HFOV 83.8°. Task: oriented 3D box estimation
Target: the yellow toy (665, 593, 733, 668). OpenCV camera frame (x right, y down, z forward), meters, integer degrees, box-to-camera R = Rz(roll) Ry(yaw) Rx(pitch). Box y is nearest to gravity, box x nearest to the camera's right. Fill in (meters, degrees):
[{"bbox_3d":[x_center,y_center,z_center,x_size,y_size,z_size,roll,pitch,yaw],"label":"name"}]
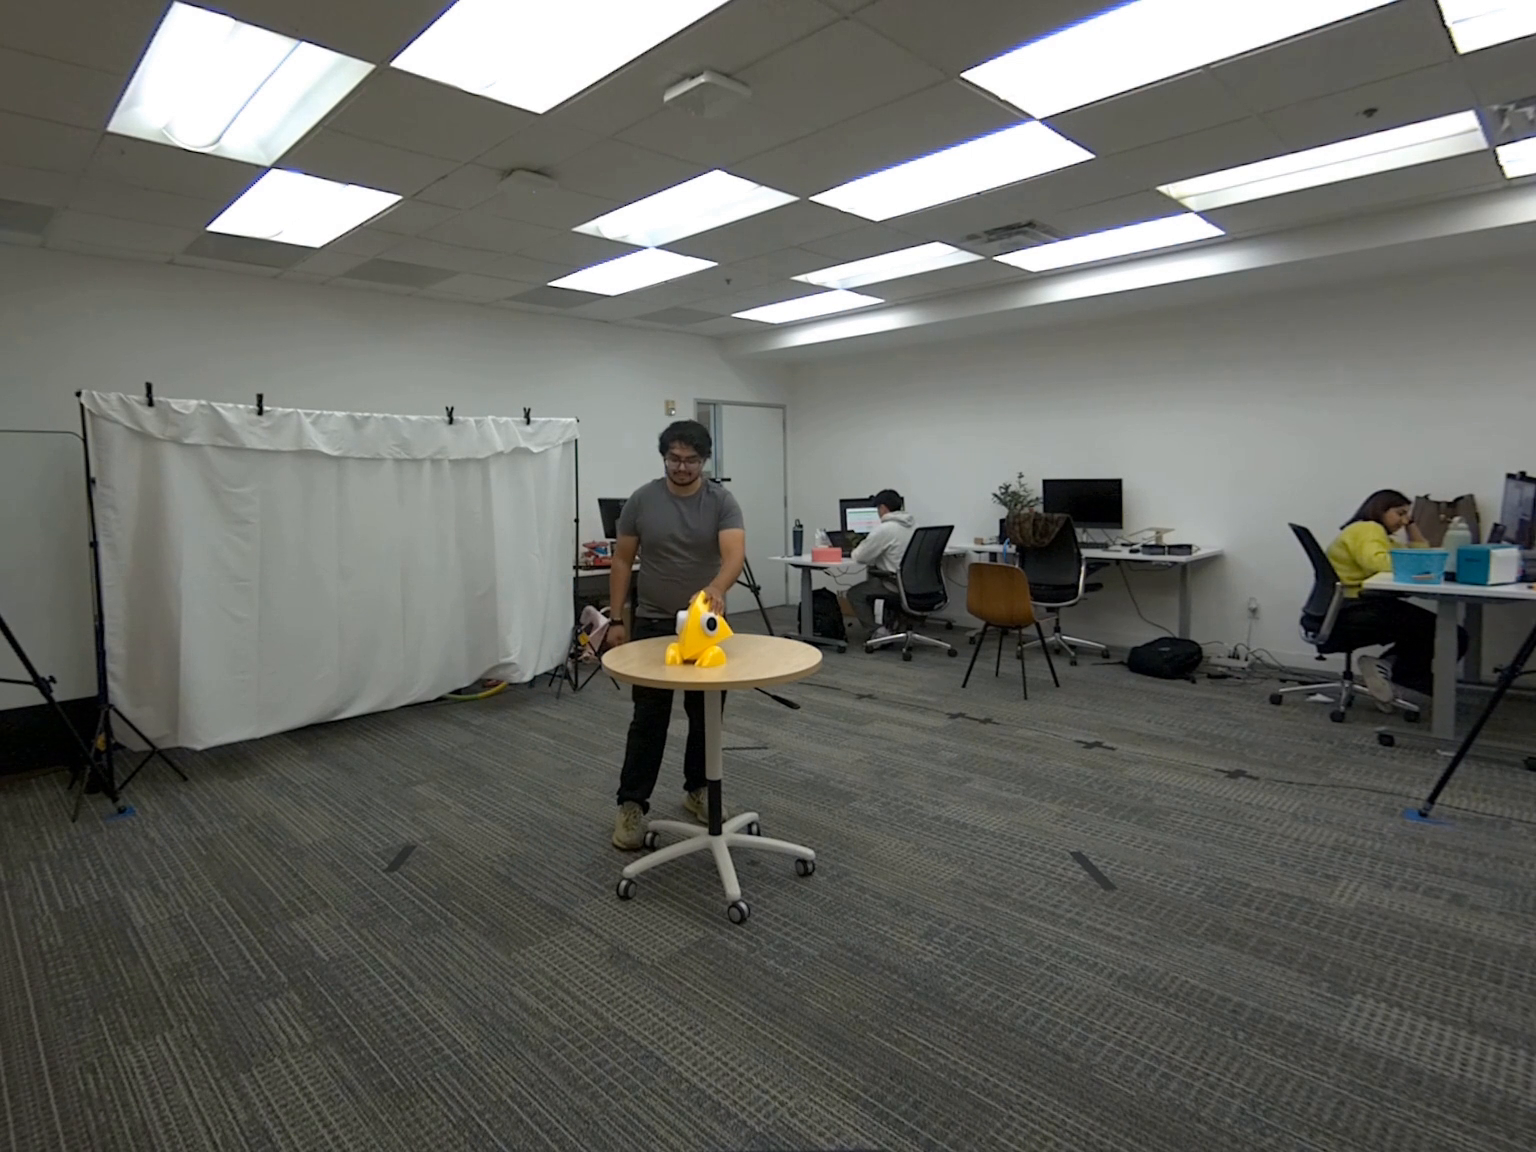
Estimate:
[{"bbox_3d":[-0.246,0.176,2.892,0.209,0.230,0.190,1,6,21],"label":"yellow toy"}]
